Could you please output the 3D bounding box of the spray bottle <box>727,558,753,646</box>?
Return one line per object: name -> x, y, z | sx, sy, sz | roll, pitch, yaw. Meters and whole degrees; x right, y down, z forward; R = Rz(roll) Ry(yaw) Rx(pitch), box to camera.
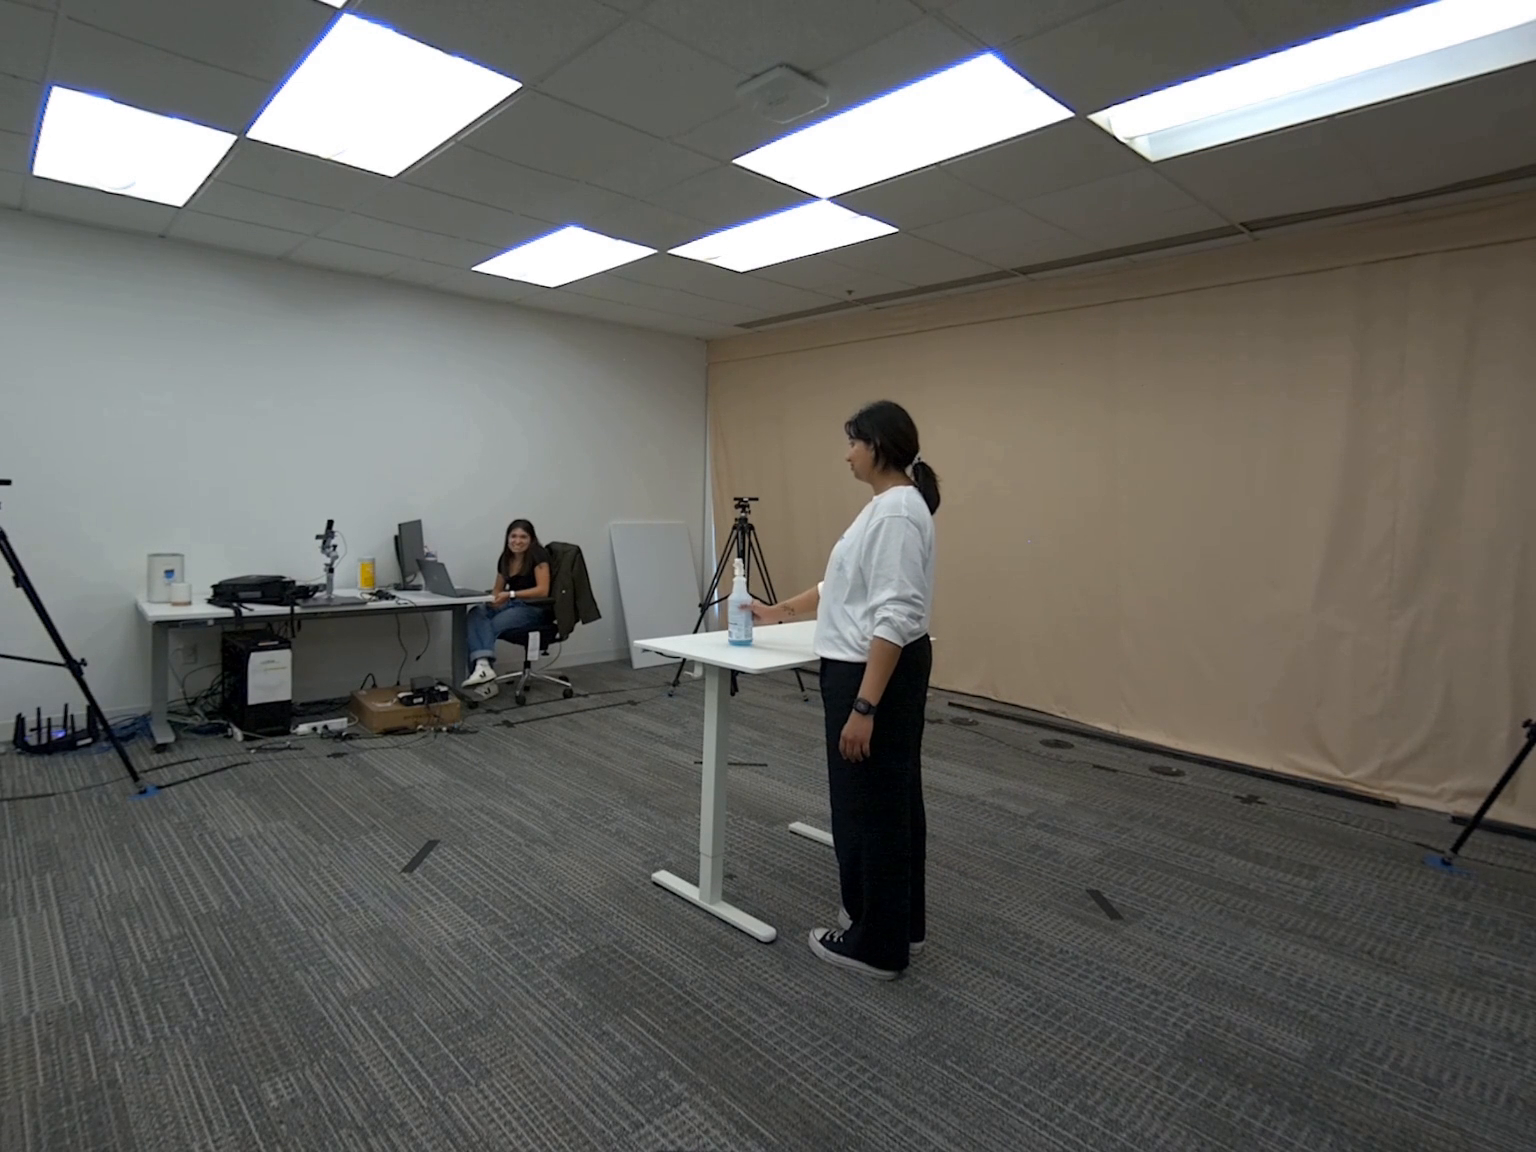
spray bottle -> -0.097, 0.088, 2.926 | 0.089, 0.297, 0.088 | 2, 3, 33
